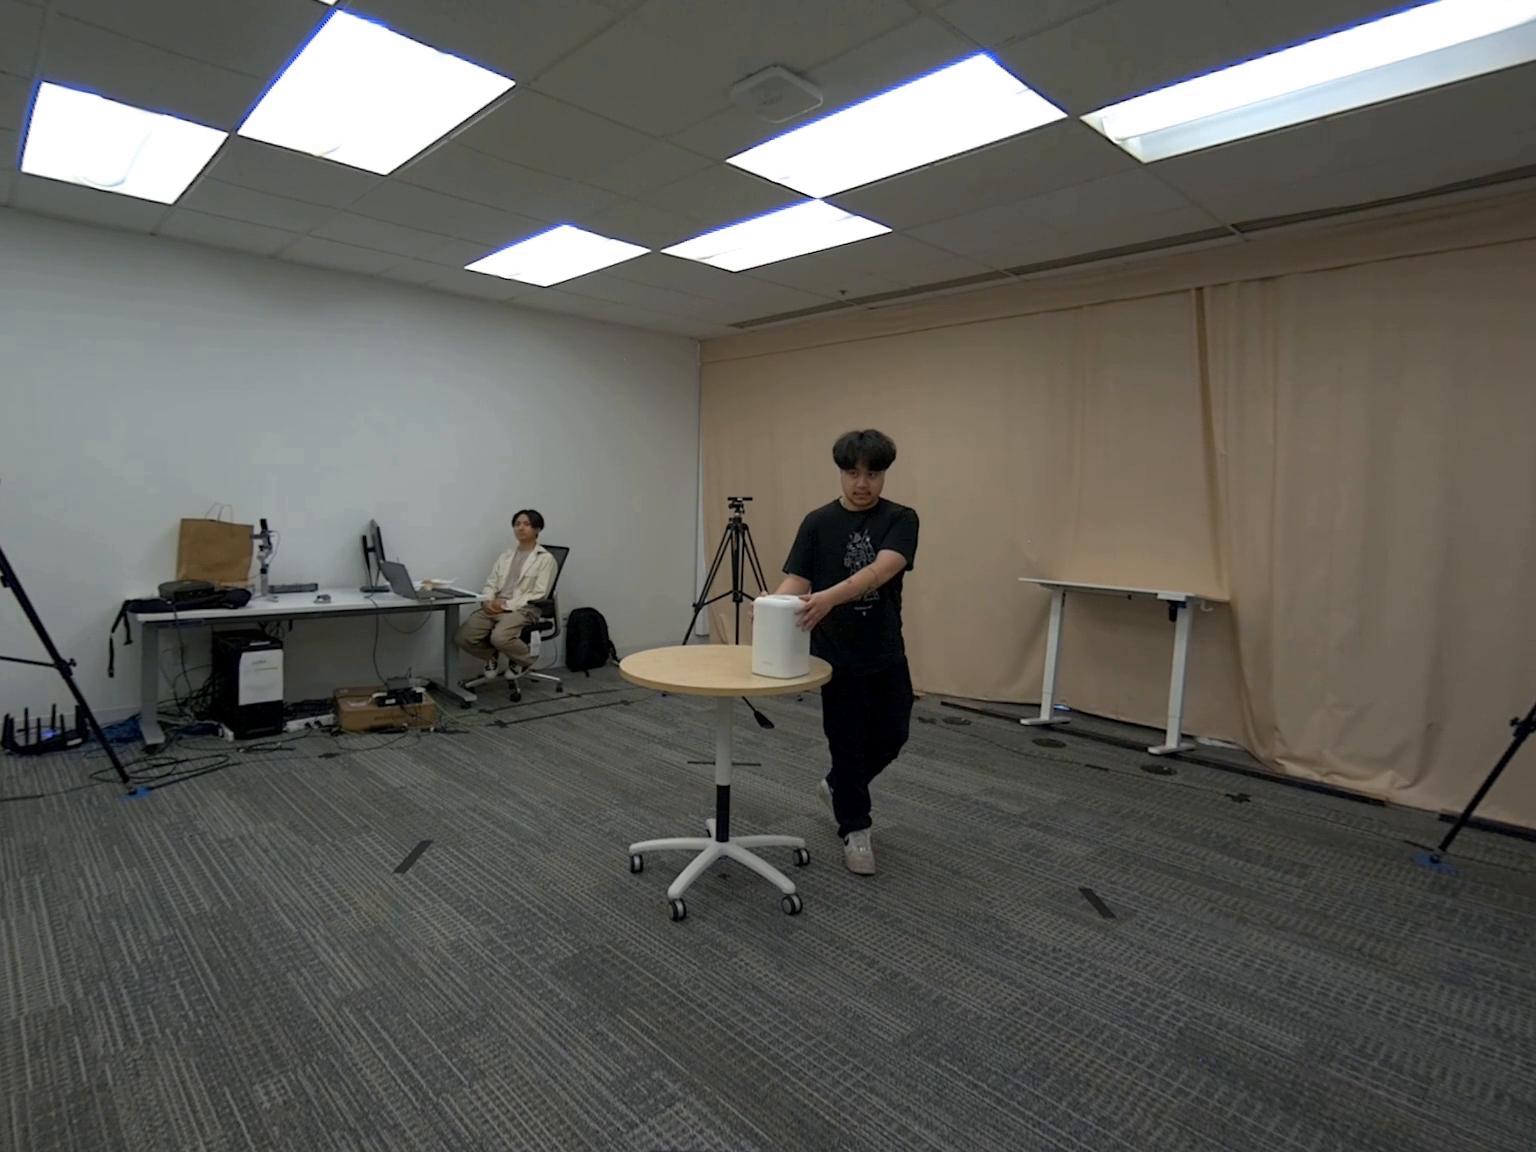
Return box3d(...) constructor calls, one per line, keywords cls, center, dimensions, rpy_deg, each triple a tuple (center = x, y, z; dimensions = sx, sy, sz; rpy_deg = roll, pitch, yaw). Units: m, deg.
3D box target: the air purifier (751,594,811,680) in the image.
box3d(cls="air purifier", center=(0.038, 0.206, 2.903), dimensions=(0.175, 0.264, 0.168), rpy_deg=(4, 6, 38))
